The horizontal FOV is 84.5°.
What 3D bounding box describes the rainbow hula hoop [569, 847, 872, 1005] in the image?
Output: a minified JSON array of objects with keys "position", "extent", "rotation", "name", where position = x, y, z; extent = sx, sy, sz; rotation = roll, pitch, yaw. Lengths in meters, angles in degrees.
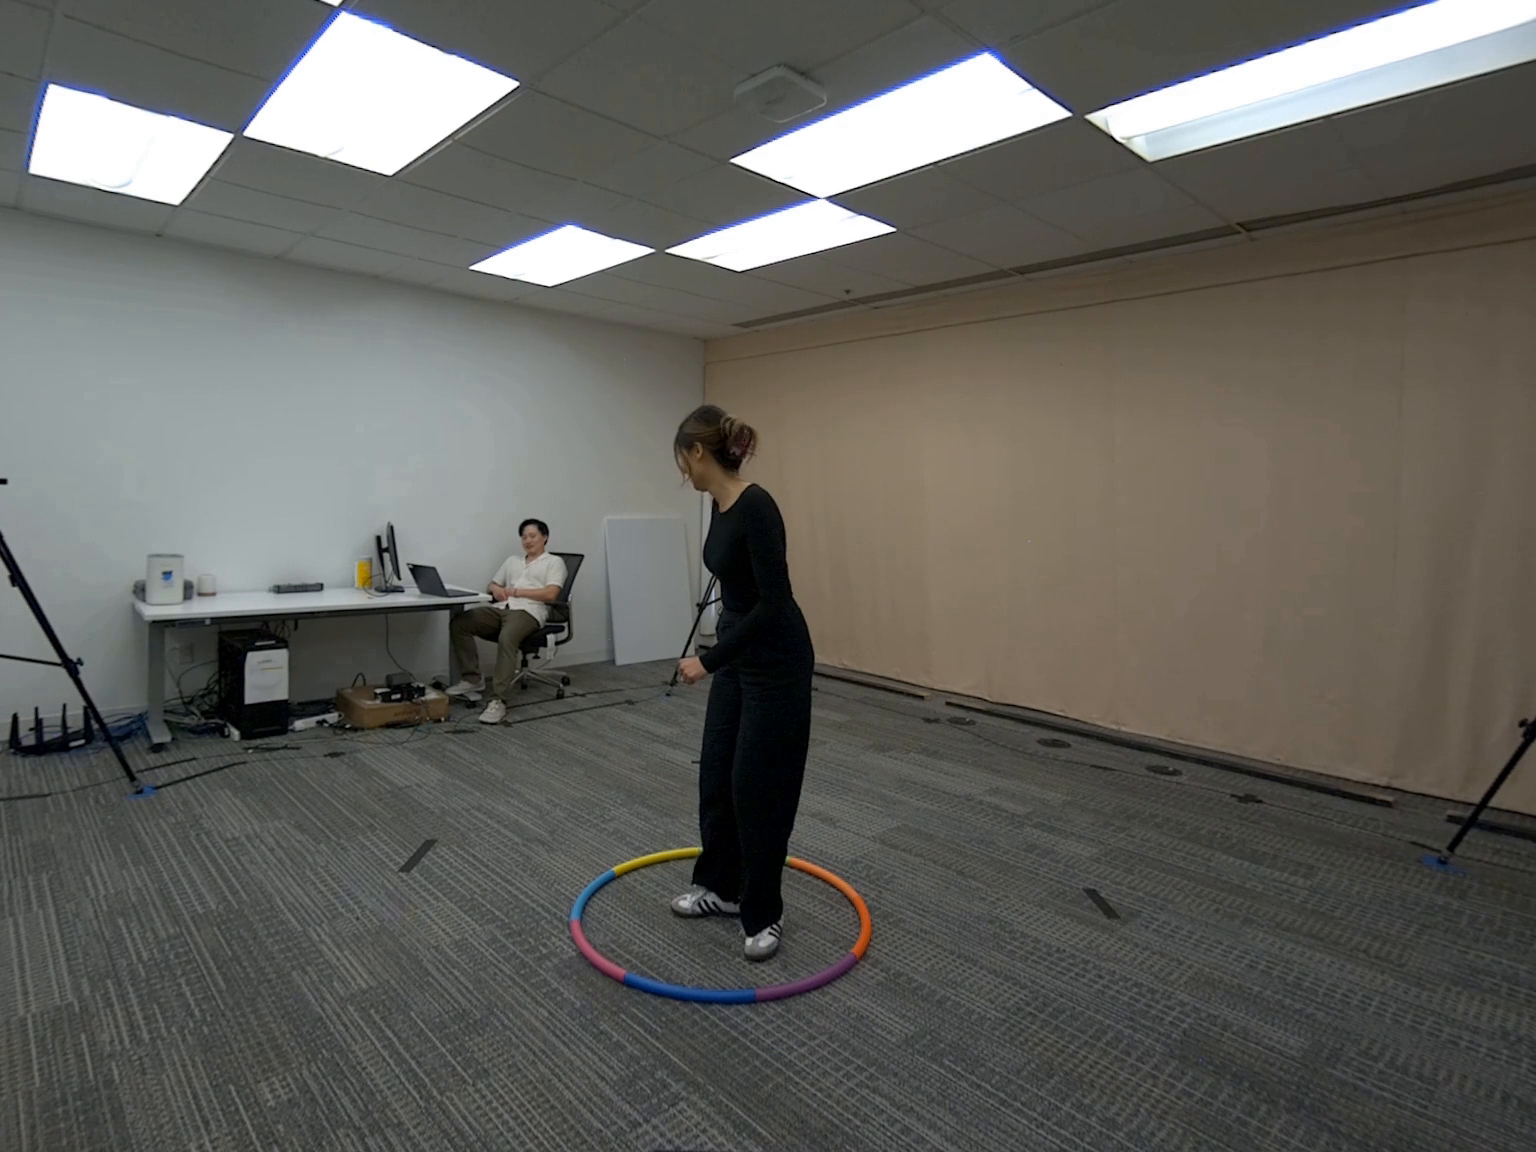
[{"position":[-0.162,1.107,2.800],"extent":[0.978,0.035,0.982],"rotation":[1,5,-1],"name":"rainbow hula hoop"}]
